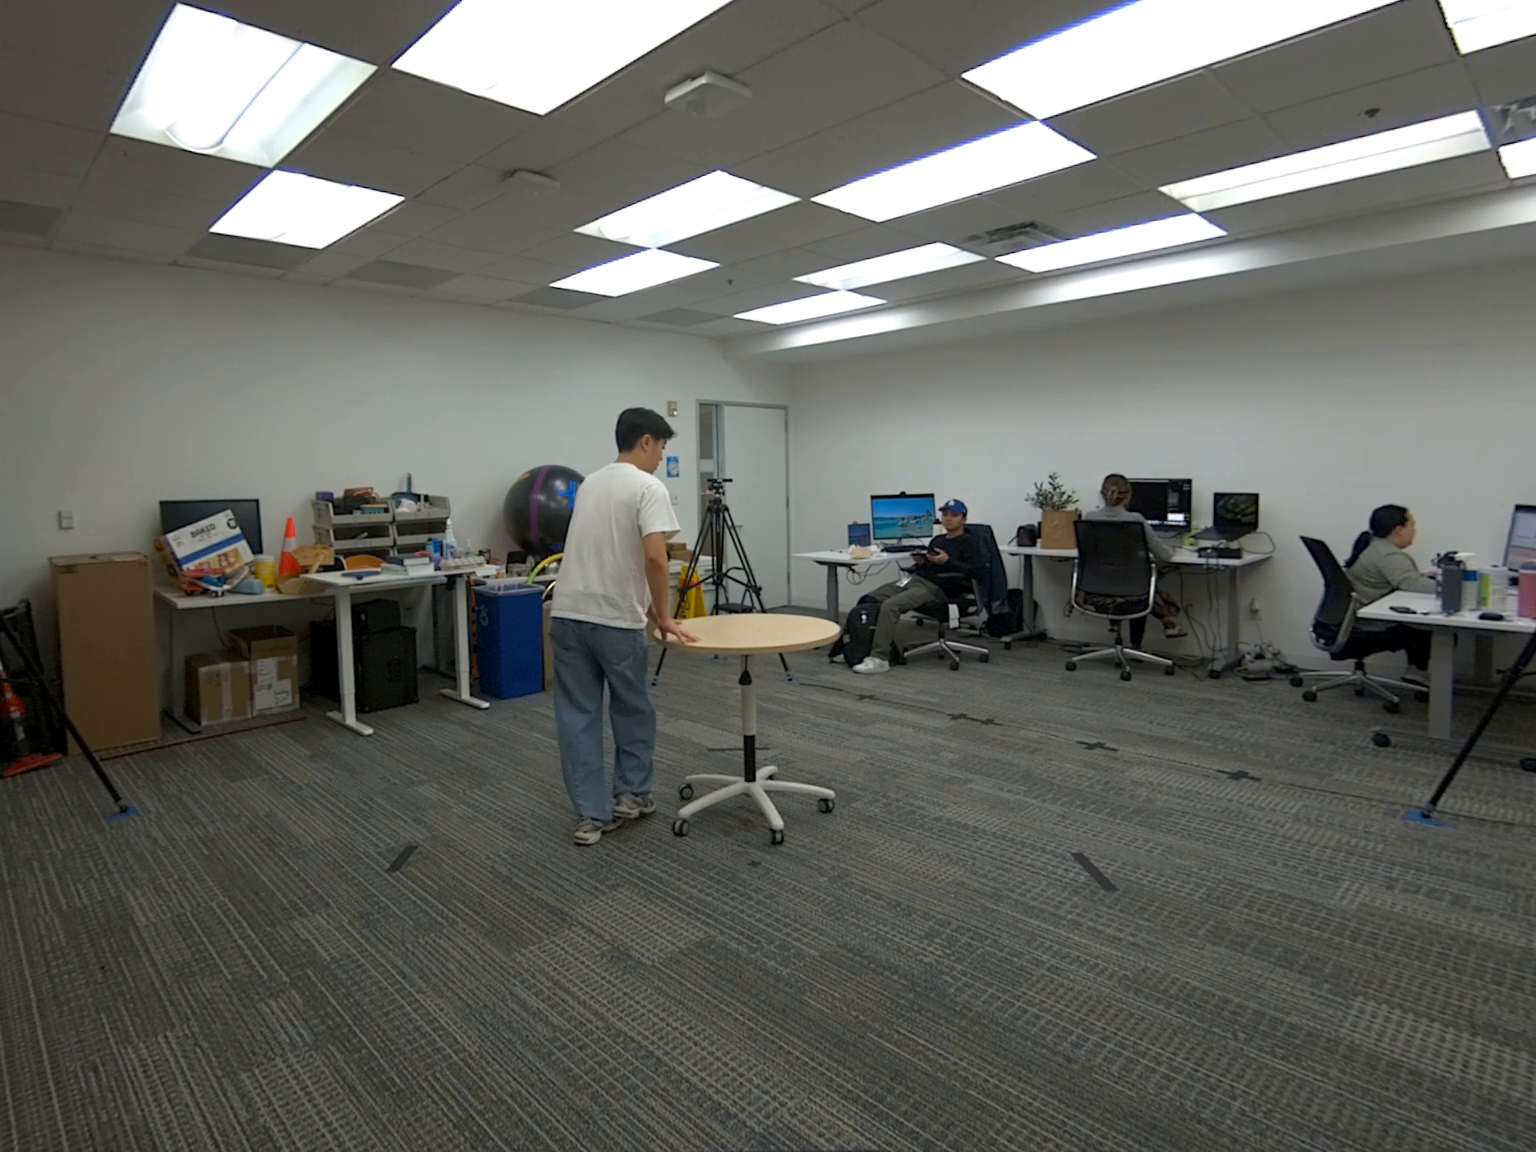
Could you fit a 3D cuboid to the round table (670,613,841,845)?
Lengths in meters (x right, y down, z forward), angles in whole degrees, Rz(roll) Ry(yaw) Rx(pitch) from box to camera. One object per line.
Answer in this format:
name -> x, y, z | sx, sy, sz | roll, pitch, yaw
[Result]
round table -> -0.085, 0.607, 3.542 | 0.763, 0.791, 0.768 | -1, 5, -2
